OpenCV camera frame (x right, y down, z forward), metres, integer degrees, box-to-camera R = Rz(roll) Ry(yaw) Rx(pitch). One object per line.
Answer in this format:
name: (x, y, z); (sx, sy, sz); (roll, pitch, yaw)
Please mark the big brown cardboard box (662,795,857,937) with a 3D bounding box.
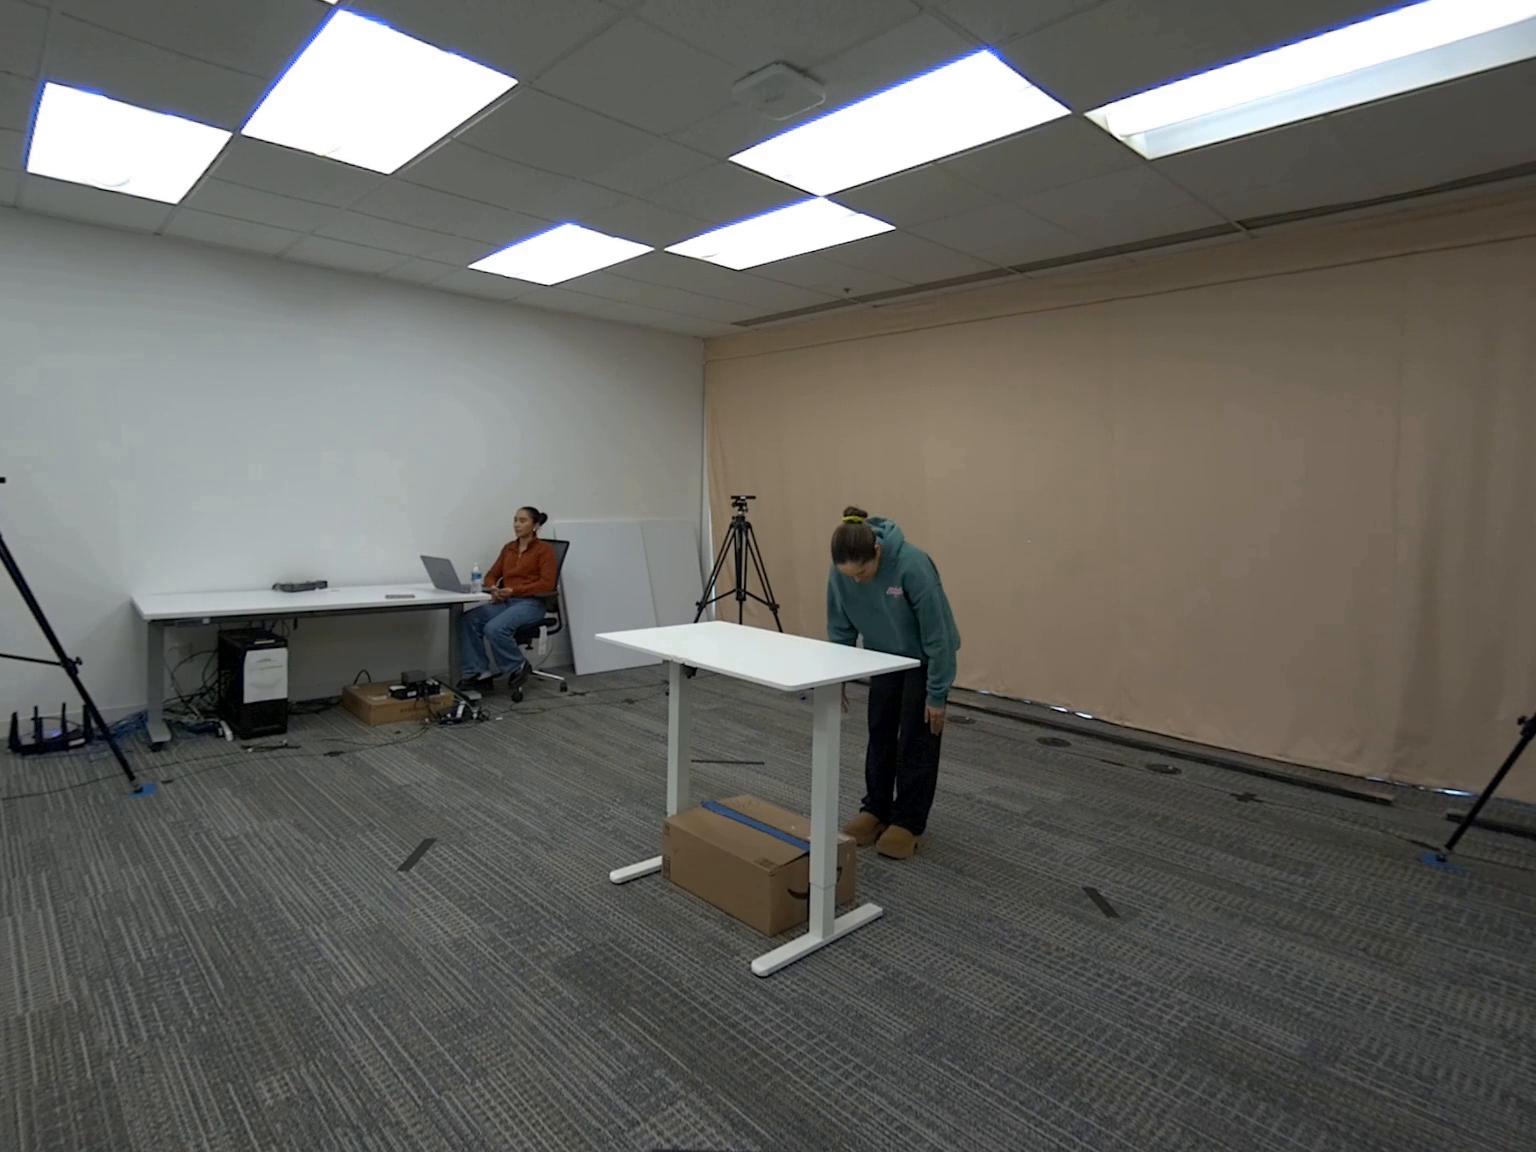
big brown cardboard box: (-0.042, 1.003, 2.993); (0.408, 0.232, 0.604); (-3, 6, -43)
